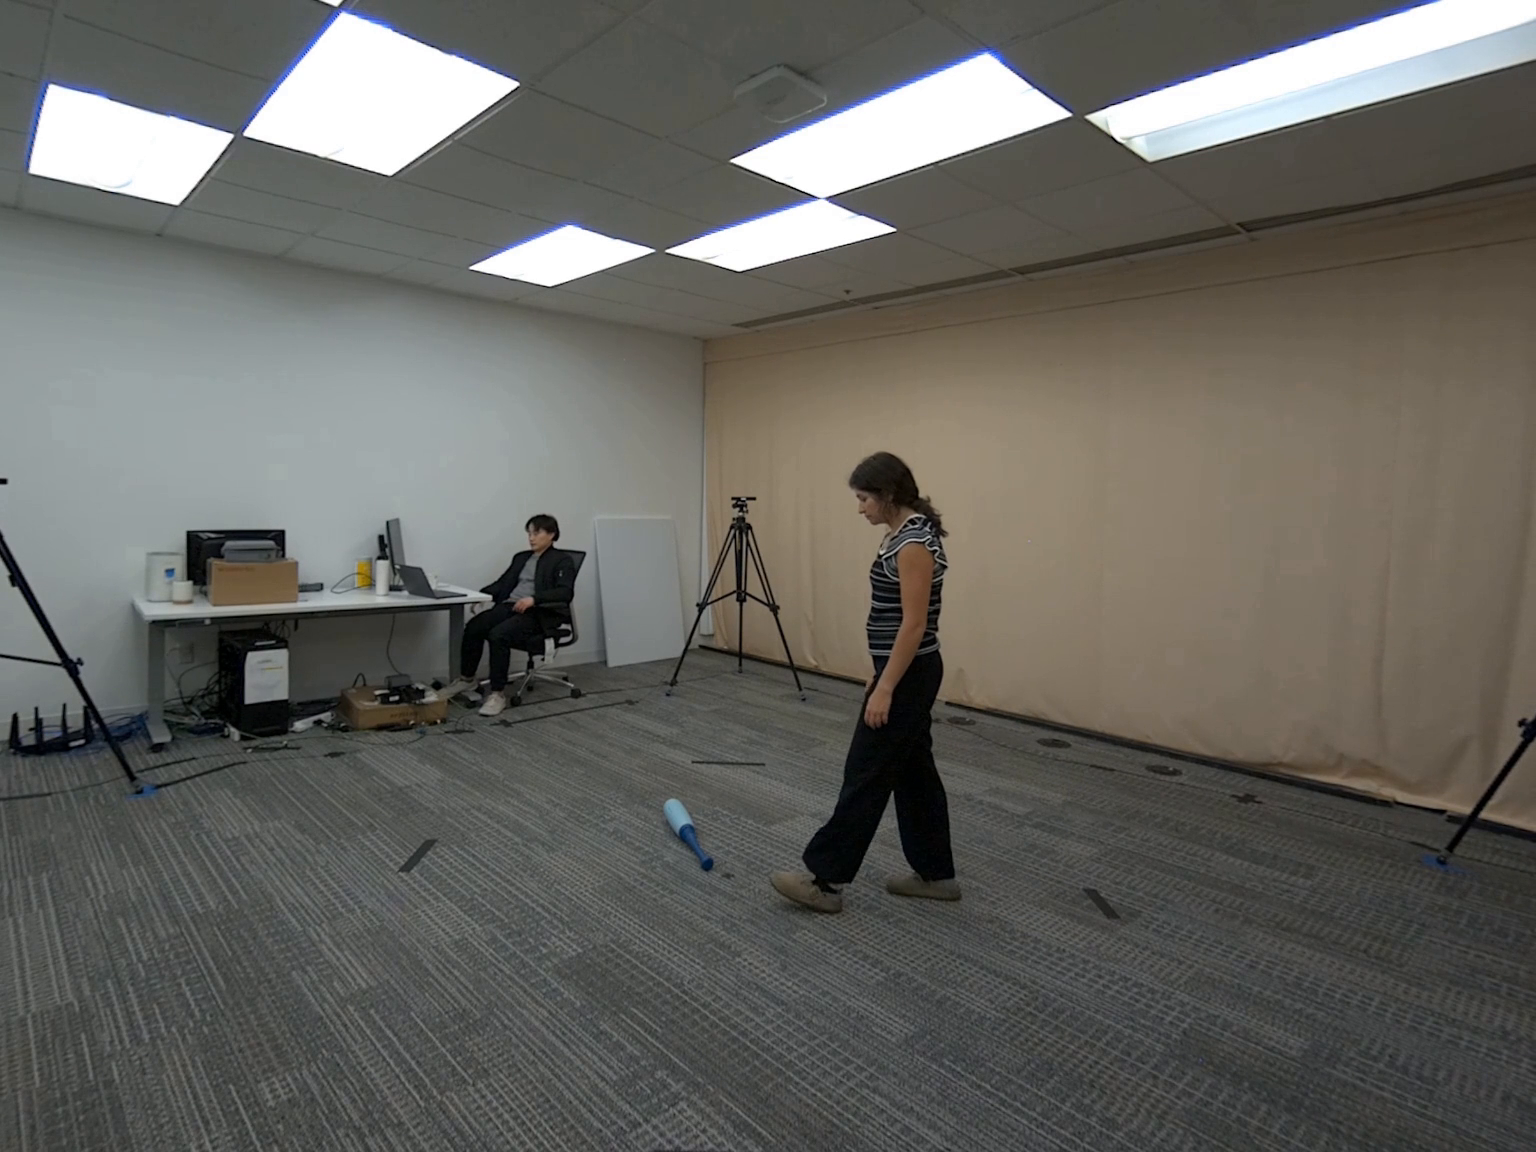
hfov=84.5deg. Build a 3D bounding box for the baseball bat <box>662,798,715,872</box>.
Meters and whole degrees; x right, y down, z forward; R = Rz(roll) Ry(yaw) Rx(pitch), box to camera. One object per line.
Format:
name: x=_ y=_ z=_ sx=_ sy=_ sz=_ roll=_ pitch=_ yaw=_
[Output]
baseball bat: x=-0.331 y=1.043 z=3.391 sx=0.088 sy=0.088 sz=0.553 roll=0 pitch=8 yaw=-20
